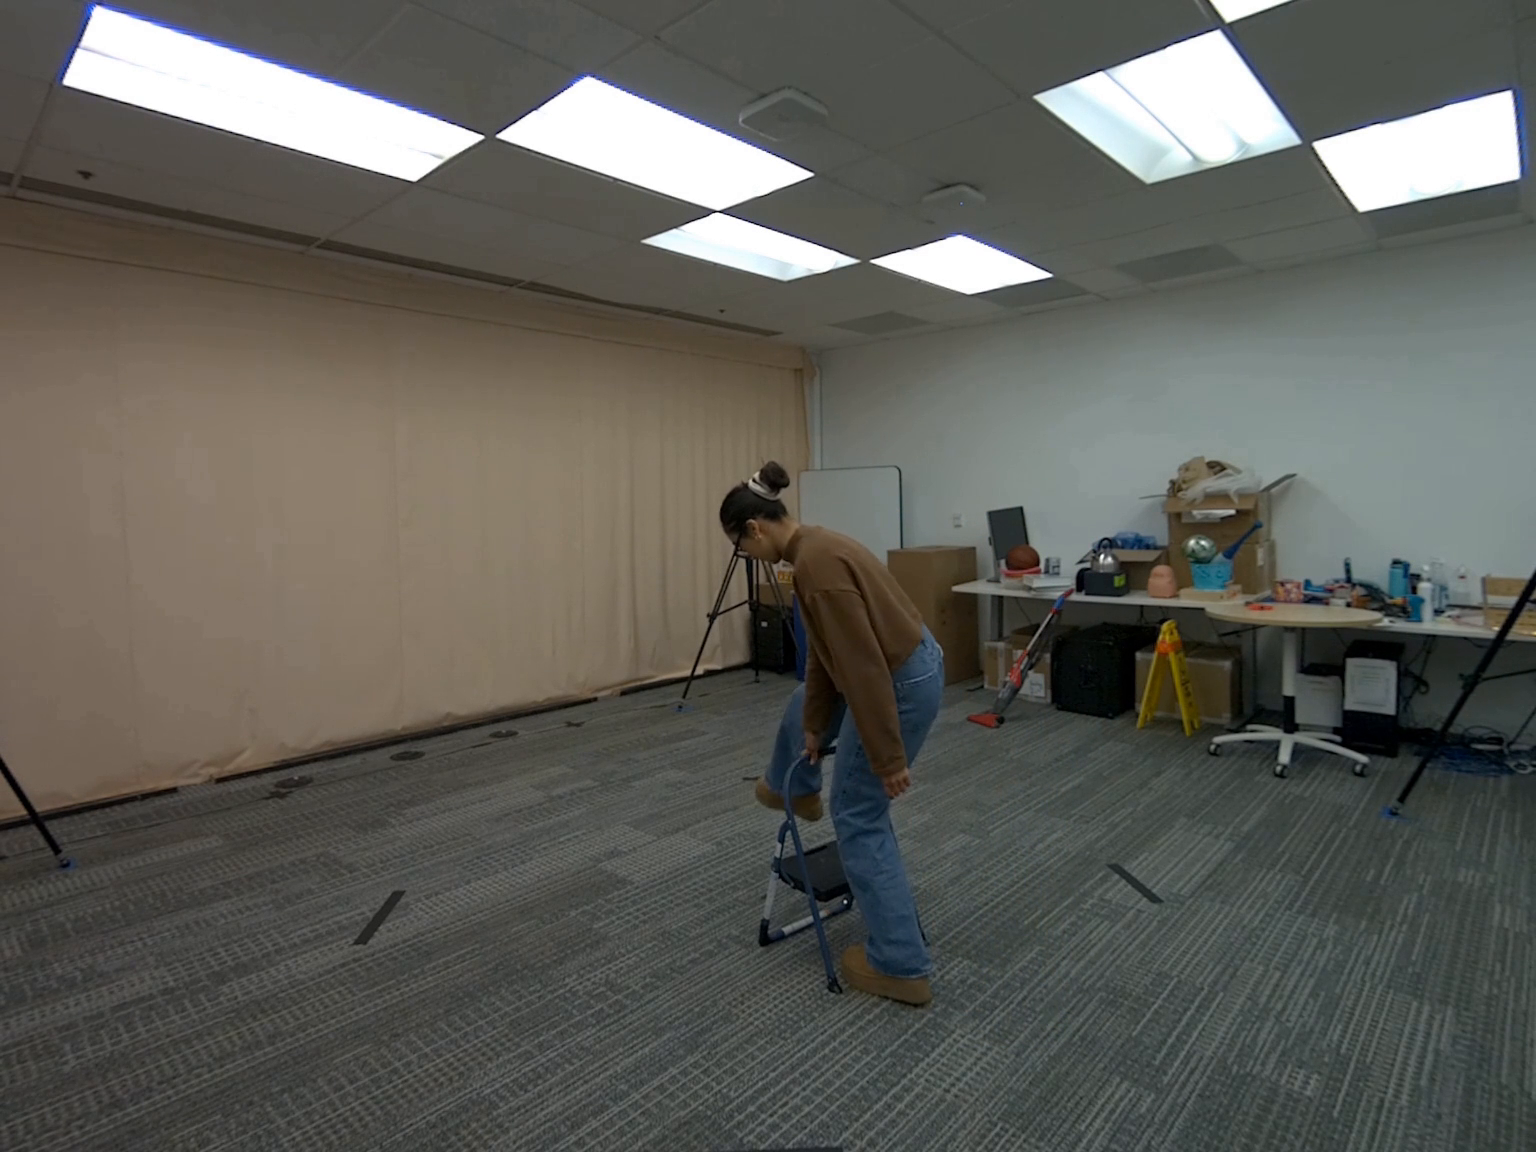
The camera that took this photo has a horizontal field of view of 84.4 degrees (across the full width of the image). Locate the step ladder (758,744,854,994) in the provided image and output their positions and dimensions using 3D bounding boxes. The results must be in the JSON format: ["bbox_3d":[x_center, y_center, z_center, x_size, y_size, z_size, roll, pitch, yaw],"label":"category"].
[{"bbox_3d":[0.234,0.861,2.643,0.417,0.605,0.361,-4,4,-41],"label":"step ladder"}]
